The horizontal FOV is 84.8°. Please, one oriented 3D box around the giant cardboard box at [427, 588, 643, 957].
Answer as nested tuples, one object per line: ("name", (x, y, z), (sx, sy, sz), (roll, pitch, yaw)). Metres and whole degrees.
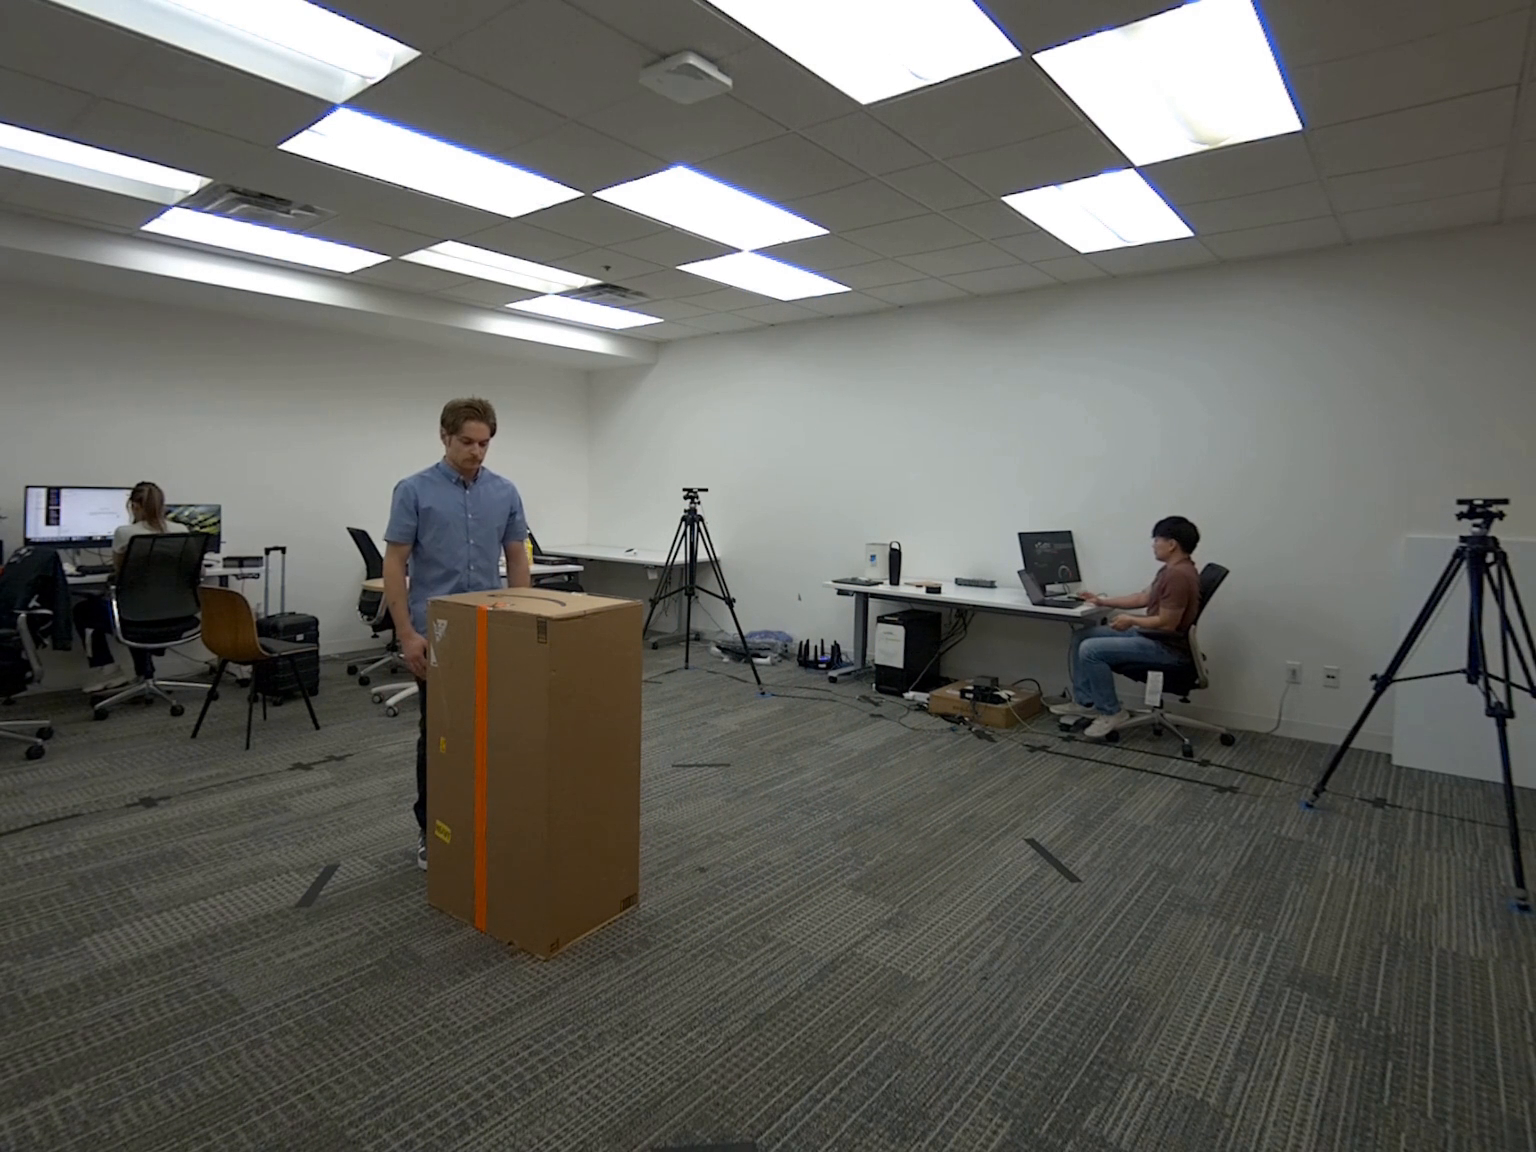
("giant cardboard box", (-0.778, 0.585, 2.783), (0.596, 1.022, 0.414), (4, 4, 35))
